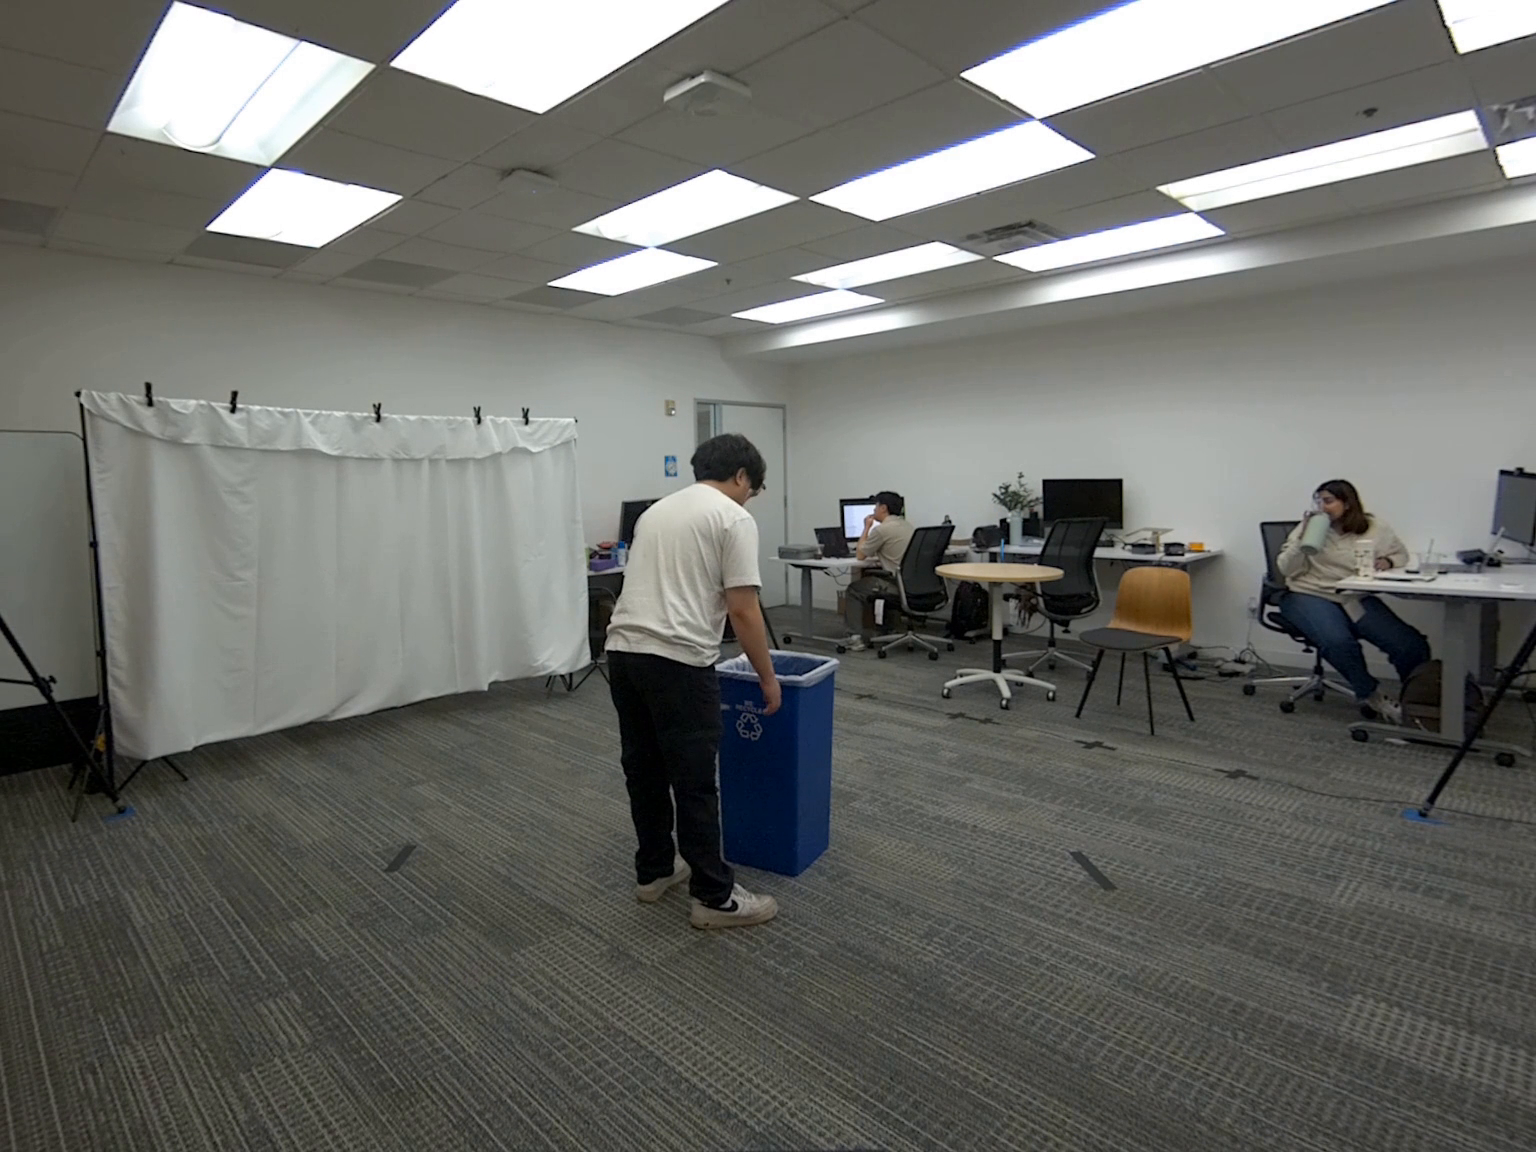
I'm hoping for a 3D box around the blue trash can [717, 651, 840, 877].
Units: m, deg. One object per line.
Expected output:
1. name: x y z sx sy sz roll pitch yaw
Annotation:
1. blue trash can: 0.041 0.675 3.161 0.383 0.711 0.370 1 5 28
